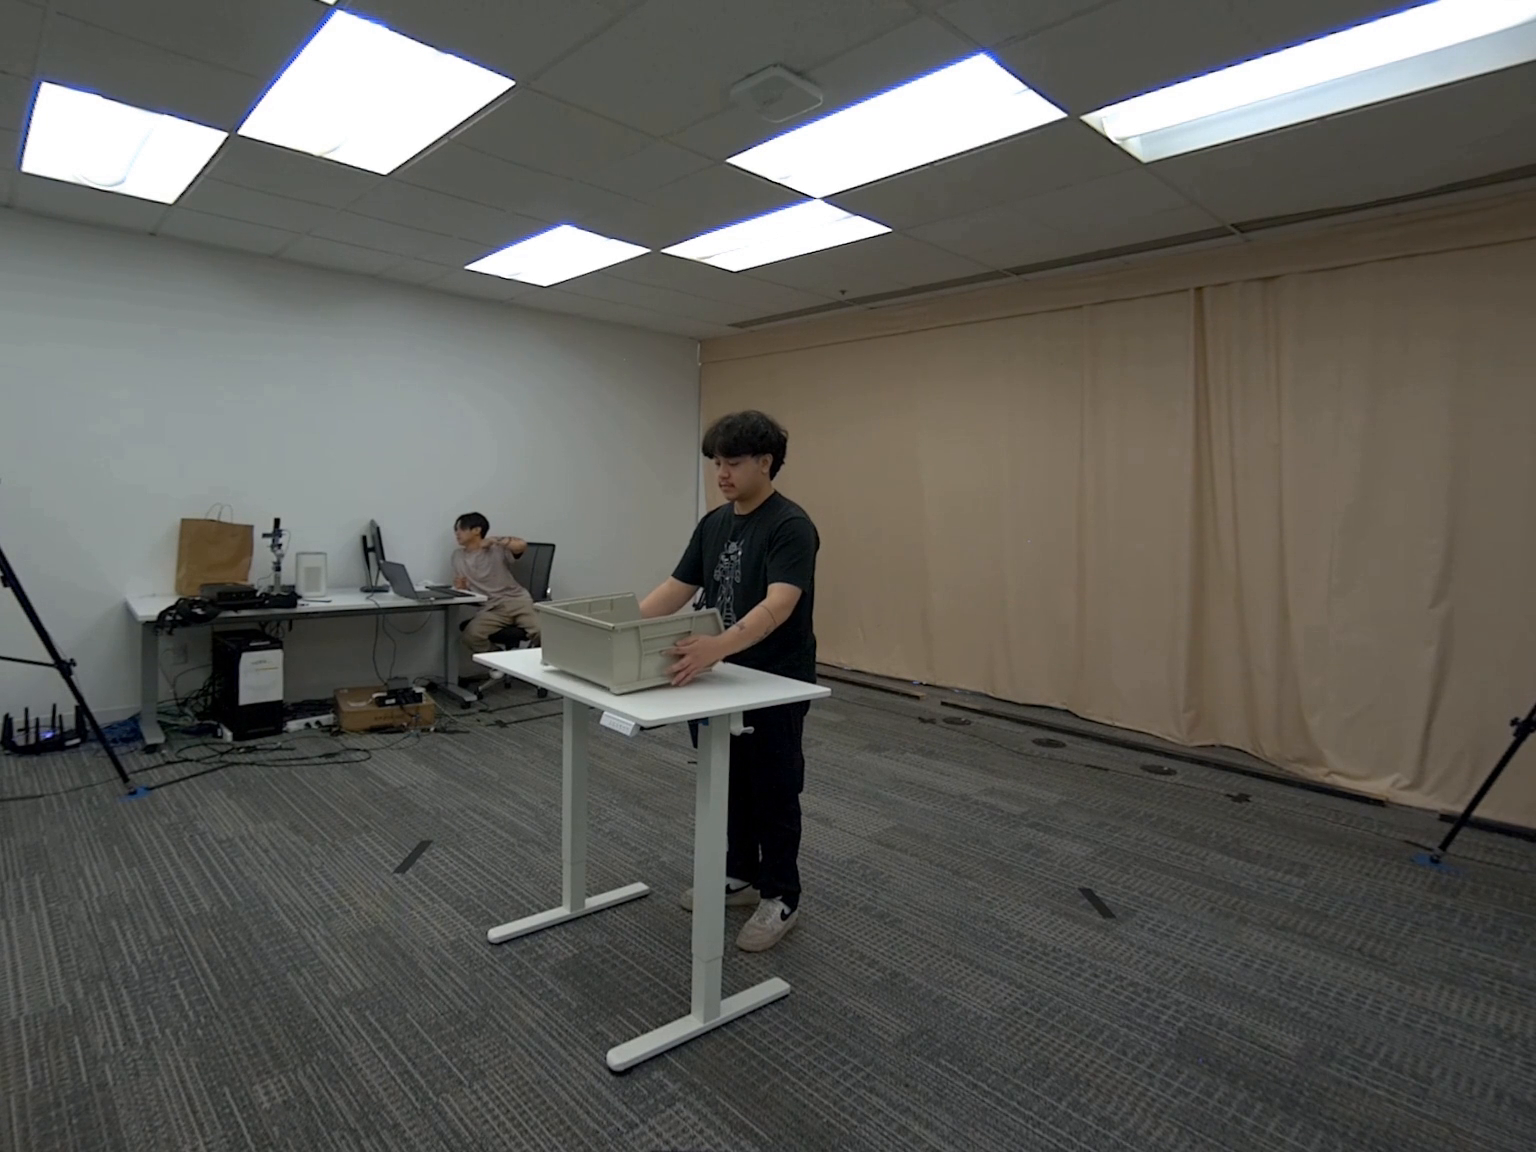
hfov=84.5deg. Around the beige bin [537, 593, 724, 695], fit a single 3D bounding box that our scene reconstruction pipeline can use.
[{"bbox_3d":[-0.406,0.180,2.359,0.370,0.188,0.433,-10,12,-41],"label":"beige bin"}]
